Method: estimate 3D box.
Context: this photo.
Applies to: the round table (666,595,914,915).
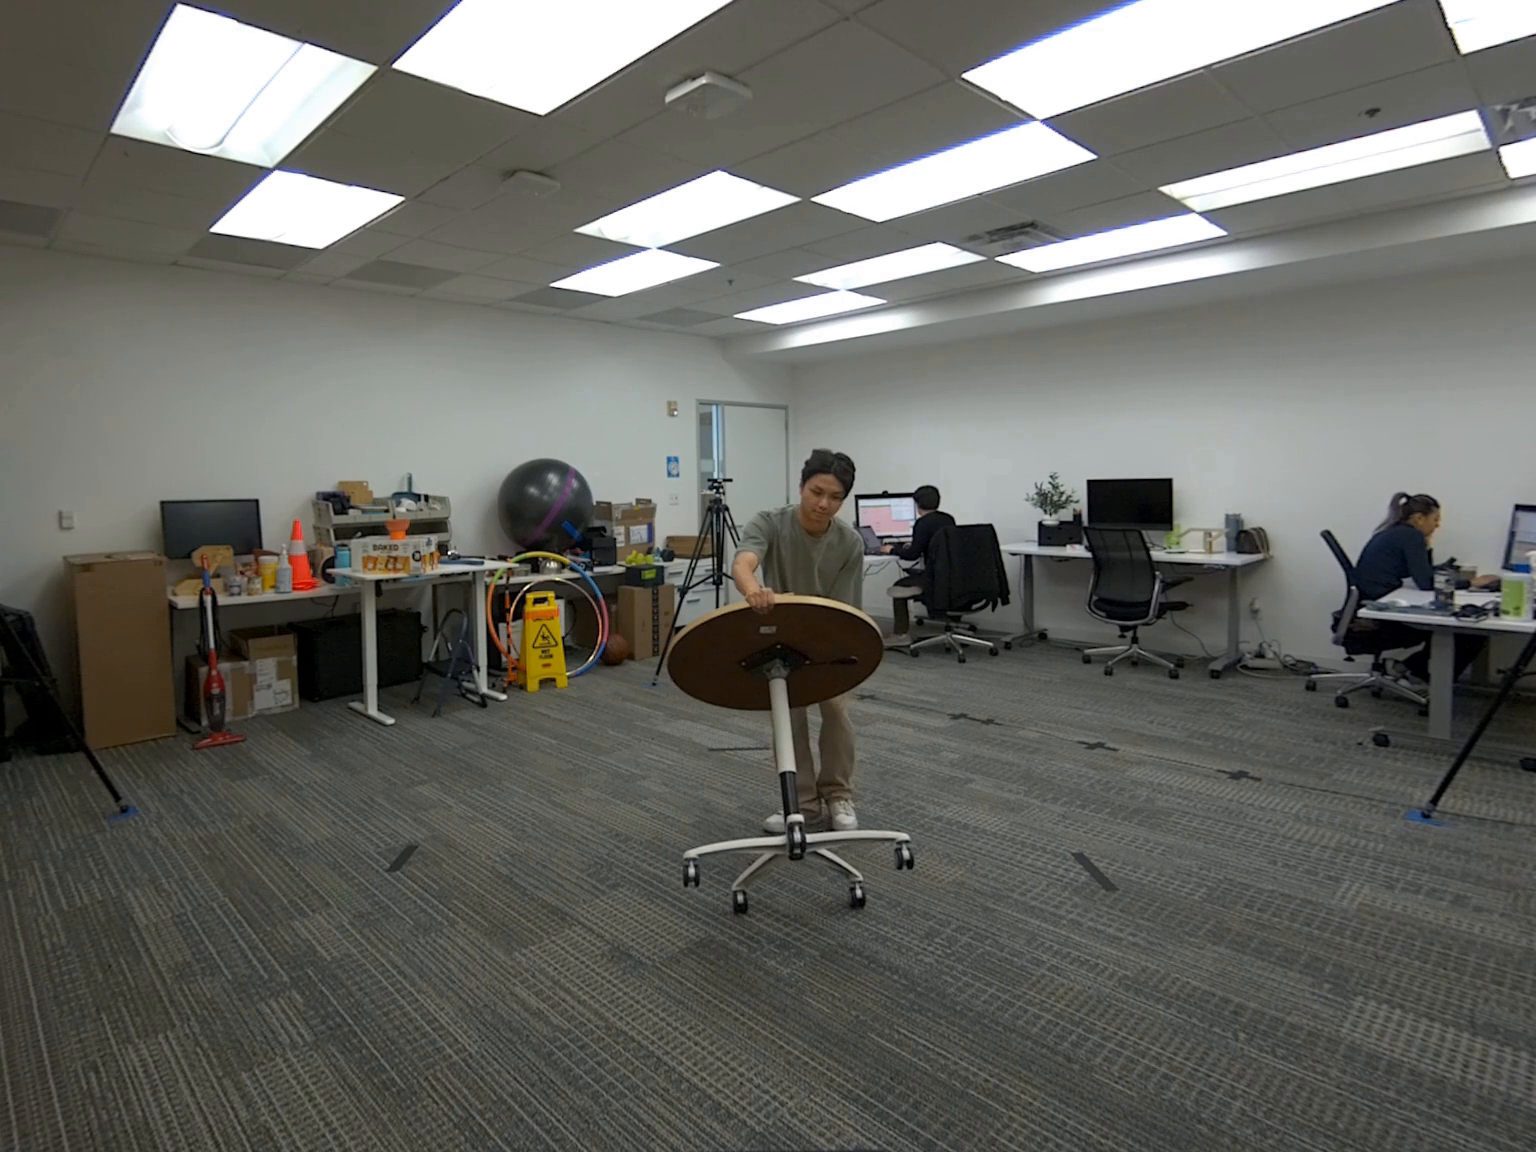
[{"bbox_3d":[0.069,0.599,2.778,0.783,0.809,0.765,-3,-36,-4],"label":"round table"}]
